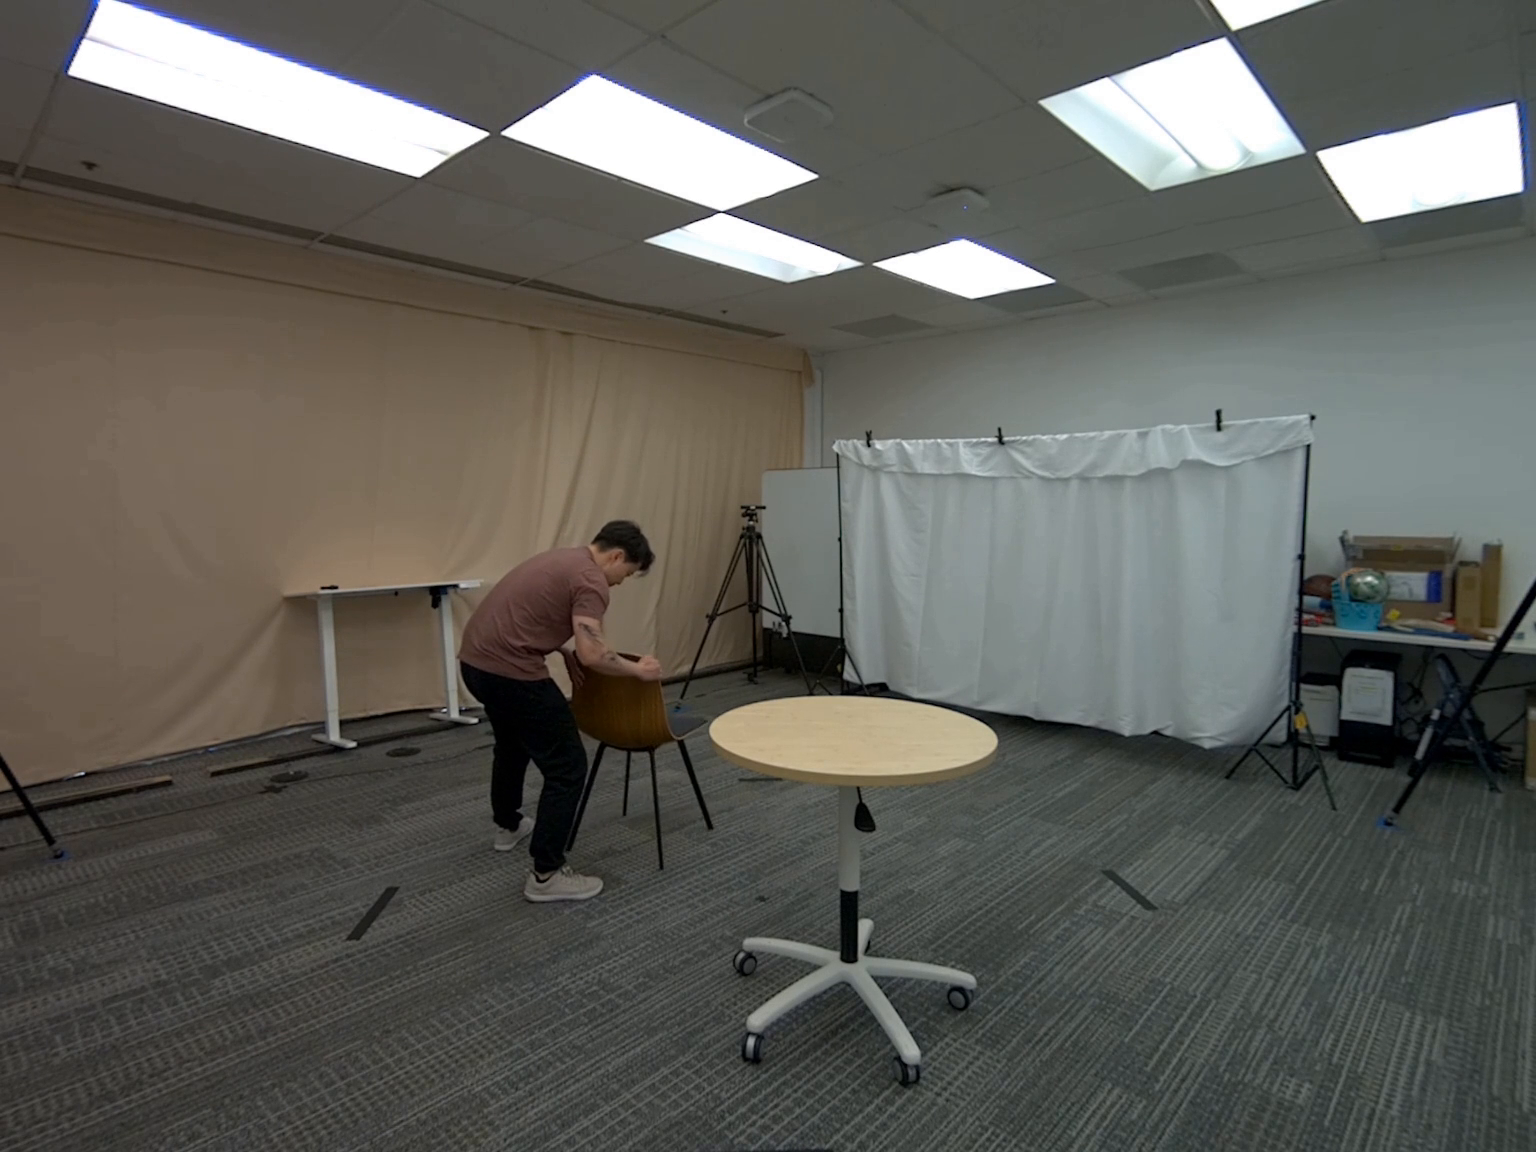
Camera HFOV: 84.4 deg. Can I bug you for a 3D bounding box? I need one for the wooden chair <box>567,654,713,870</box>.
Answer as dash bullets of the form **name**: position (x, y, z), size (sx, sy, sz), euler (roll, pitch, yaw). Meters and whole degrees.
- **wooden chair**: position (-0.524, 0.676, 3.500), size (0.490, 0.873, 0.513), euler (1, 7, 24)
